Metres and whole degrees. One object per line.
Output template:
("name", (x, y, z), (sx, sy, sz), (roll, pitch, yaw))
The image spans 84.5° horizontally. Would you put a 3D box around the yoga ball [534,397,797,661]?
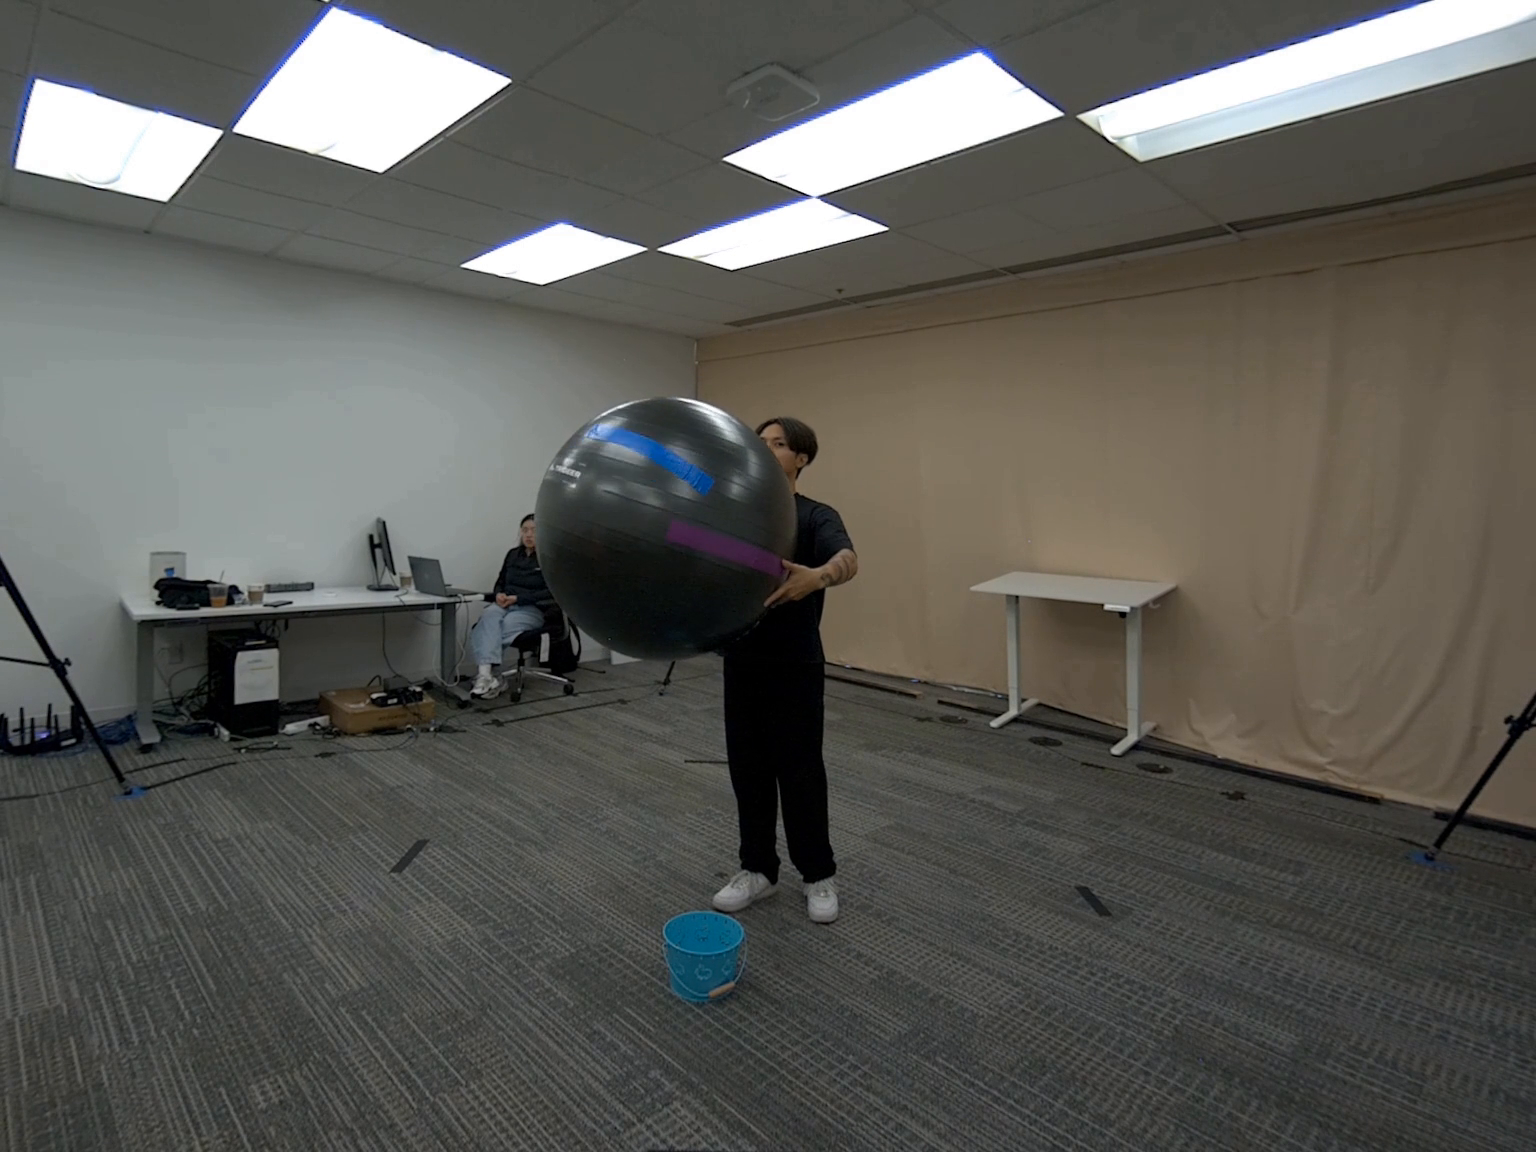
("yoga ball", (-0.302, -0.130, 2.445), (0.757, 0.756, 0.761), (1, 4, -1))
